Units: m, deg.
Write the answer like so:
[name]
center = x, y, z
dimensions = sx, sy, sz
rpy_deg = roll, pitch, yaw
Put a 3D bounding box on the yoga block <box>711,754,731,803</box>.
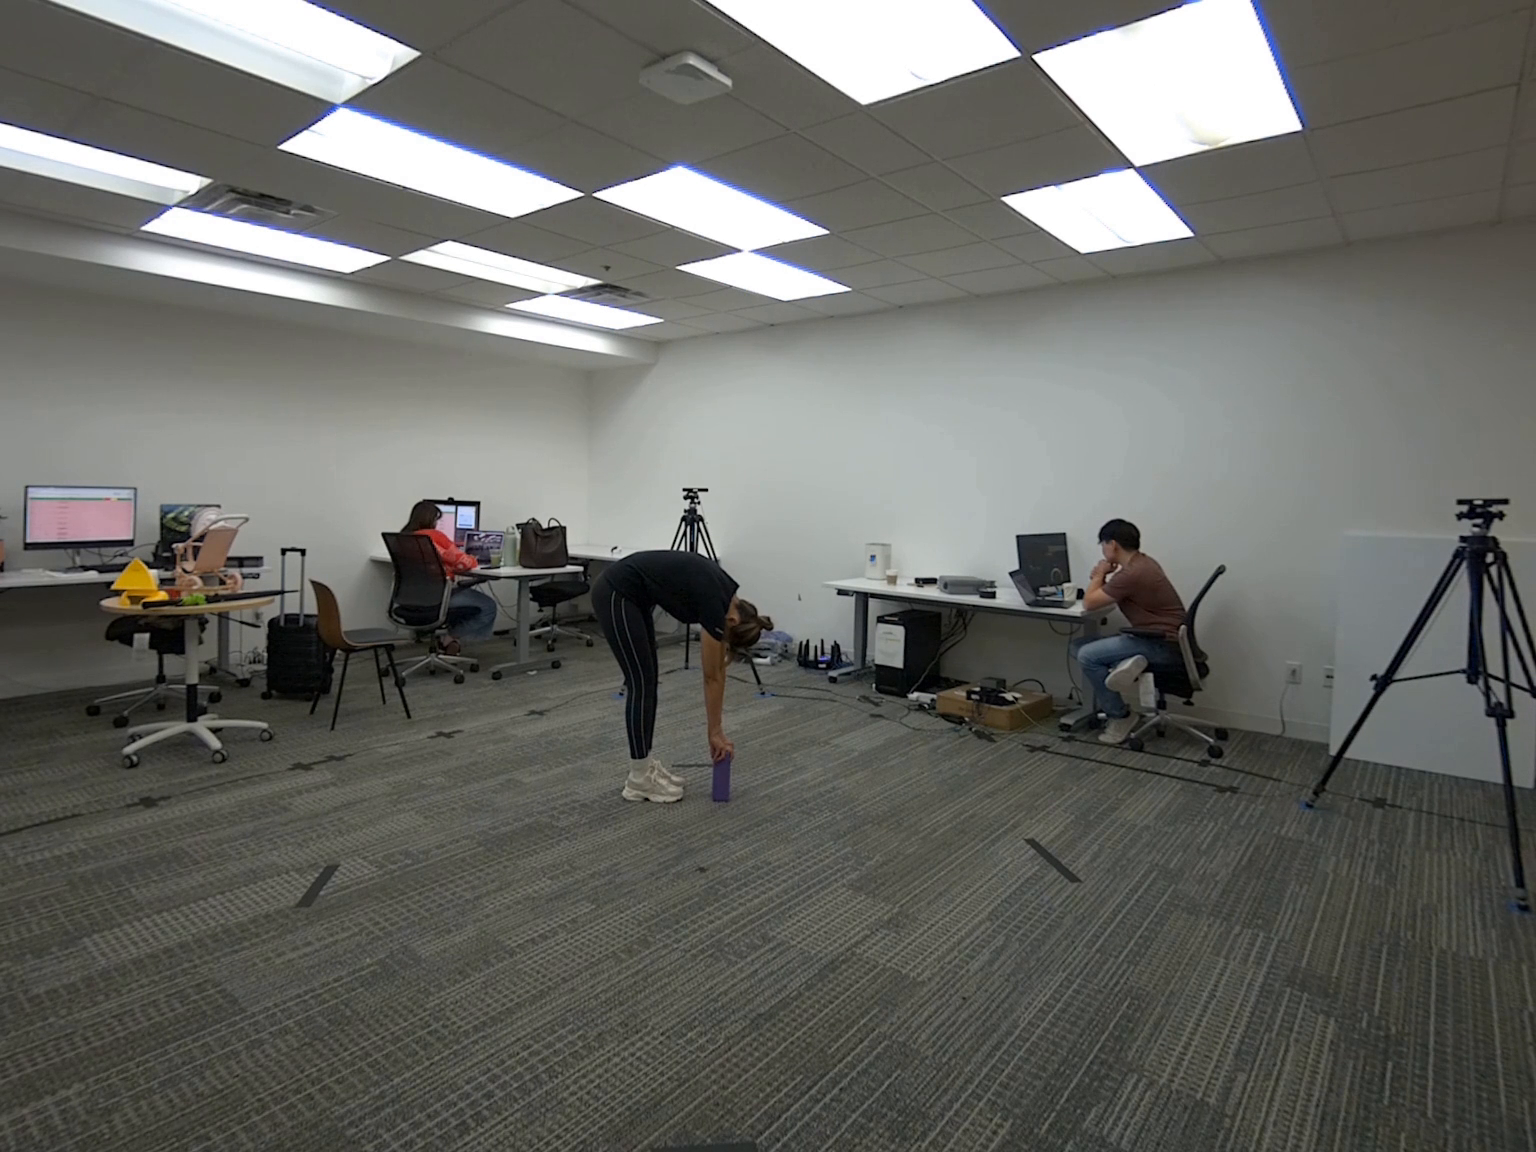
[yoga block]
center = -0.220, 0.889, 3.856
dimensions = 0.076, 0.228, 0.150
rpy_deg = 0, 5, -3
